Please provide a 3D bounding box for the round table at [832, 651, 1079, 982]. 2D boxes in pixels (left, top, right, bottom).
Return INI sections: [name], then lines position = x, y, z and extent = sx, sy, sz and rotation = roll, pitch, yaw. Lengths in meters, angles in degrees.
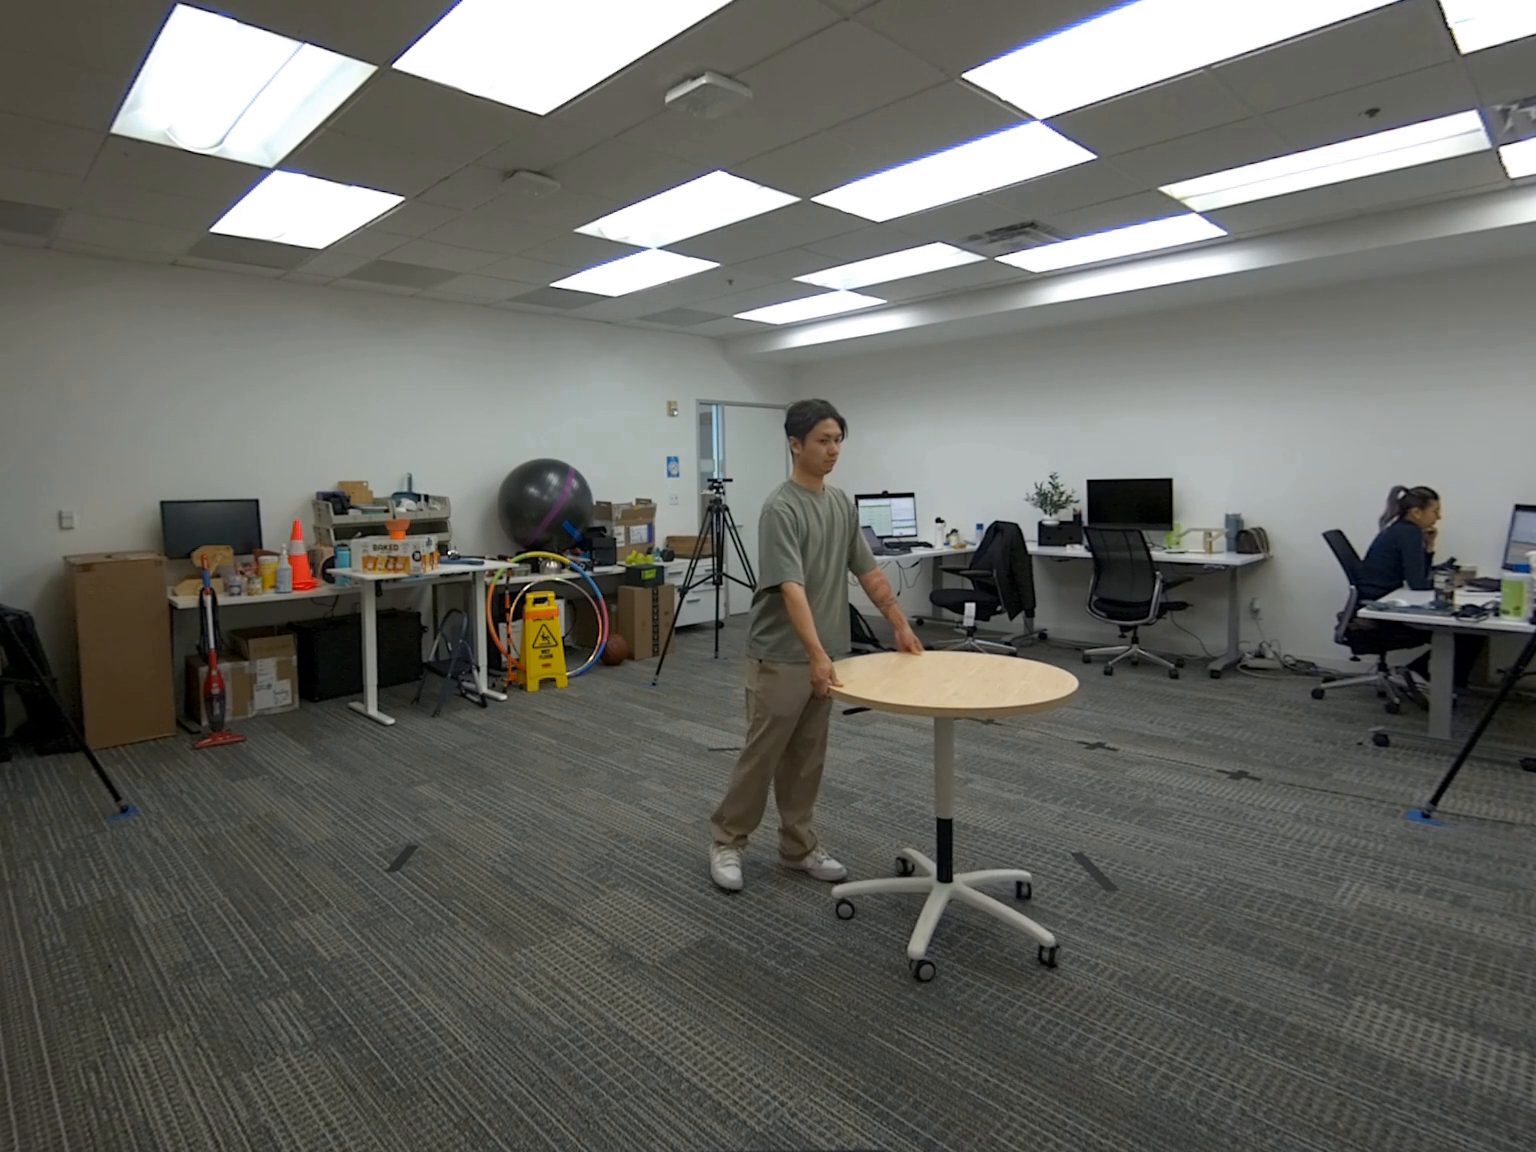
[round table]
position = 0.556, 0.695, 2.626
extent = 0.784, 0.783, 0.789
rotation = -2, 5, -2
